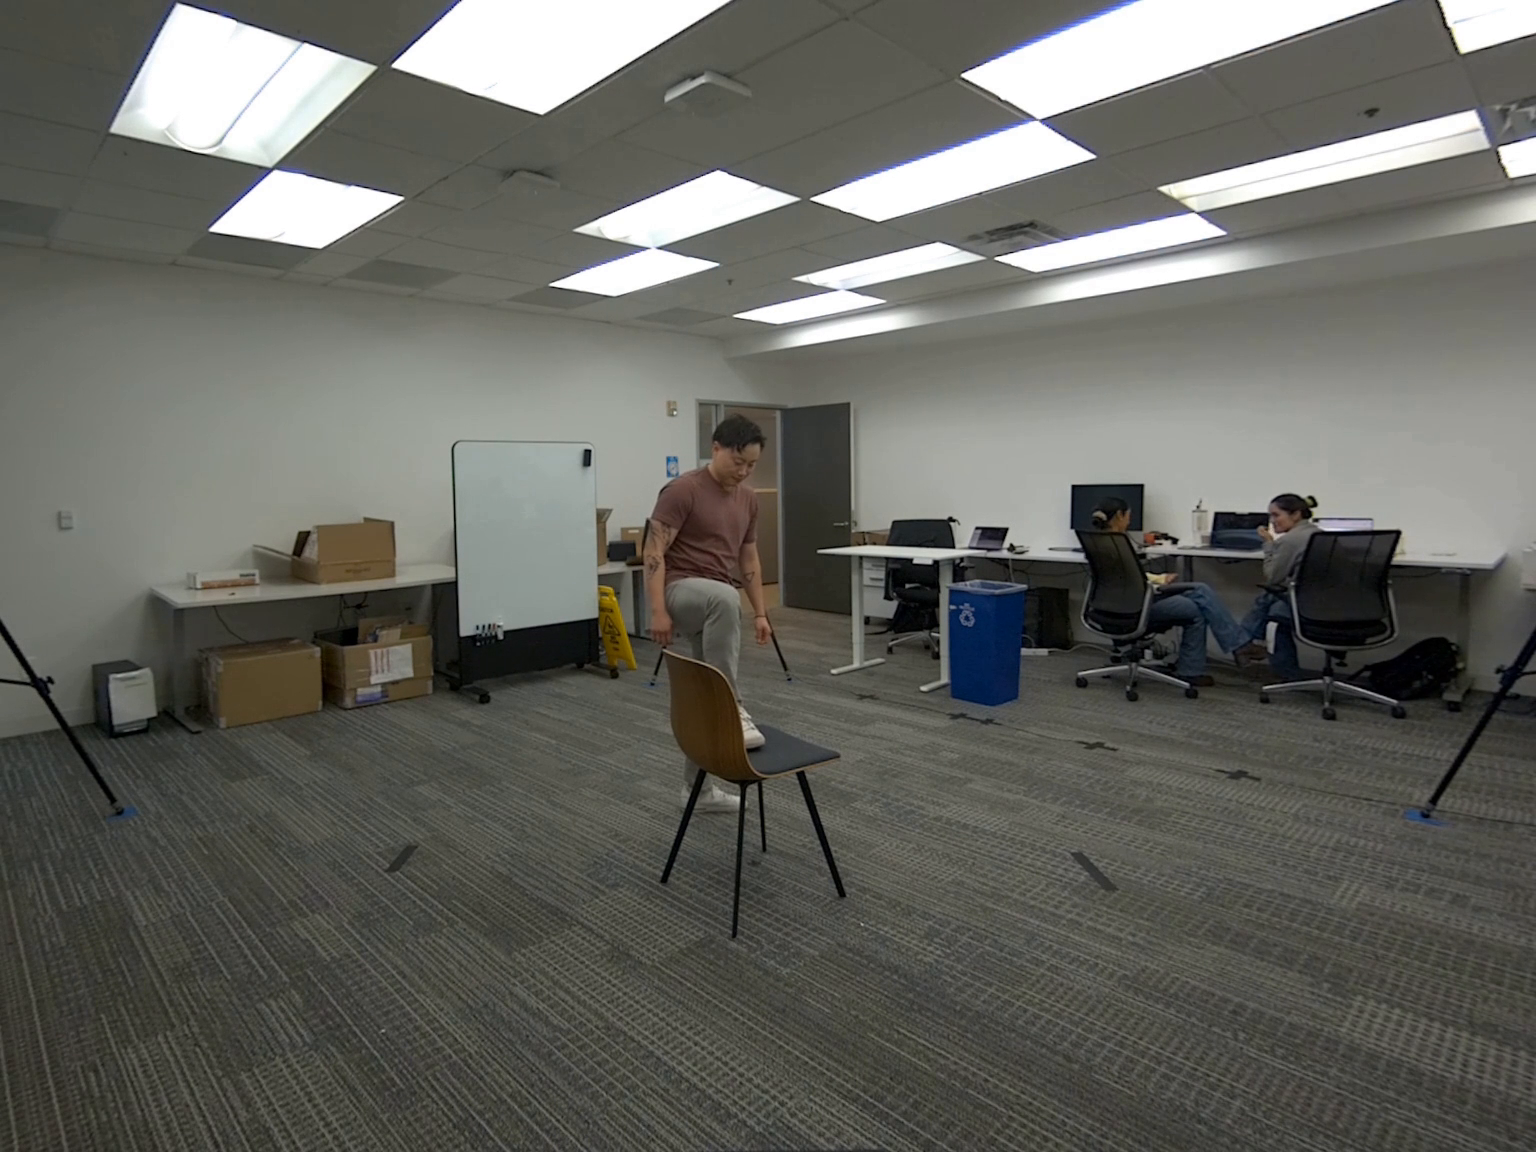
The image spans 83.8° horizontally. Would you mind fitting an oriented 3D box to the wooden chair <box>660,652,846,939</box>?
[{"bbox_3d":[-0.055,0.646,2.876,0.511,0.872,0.492,-9,8,-35],"label":"wooden chair"}]
